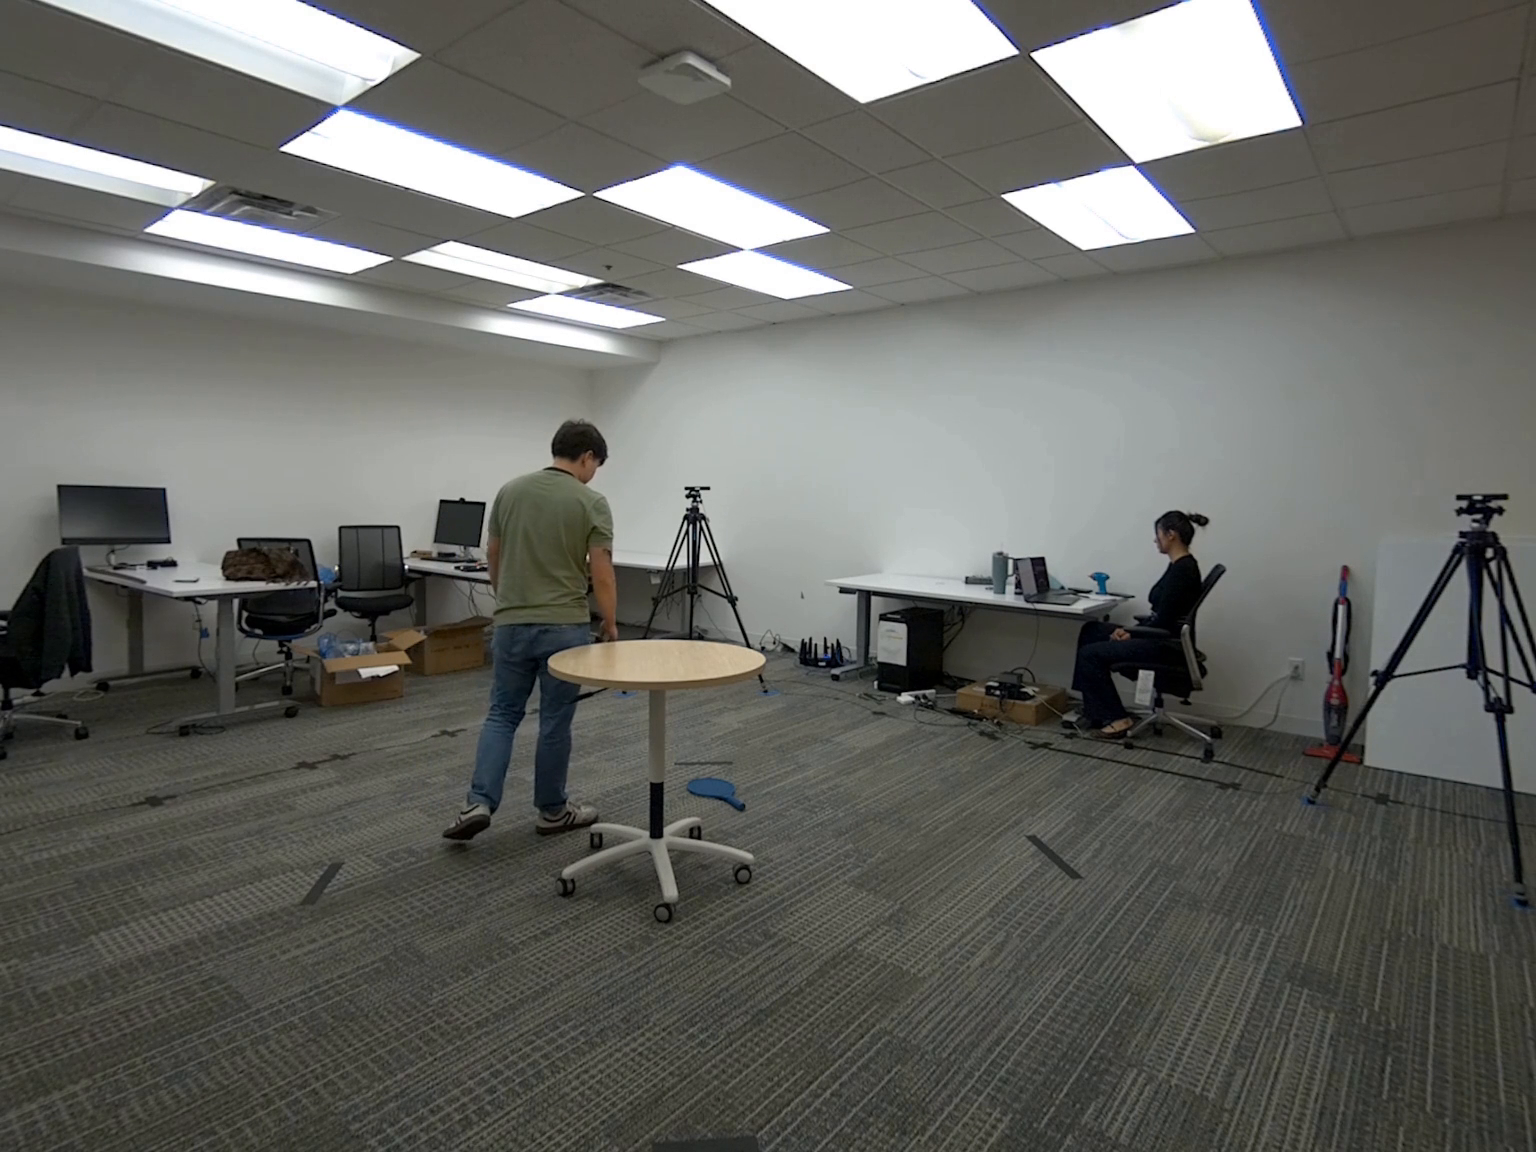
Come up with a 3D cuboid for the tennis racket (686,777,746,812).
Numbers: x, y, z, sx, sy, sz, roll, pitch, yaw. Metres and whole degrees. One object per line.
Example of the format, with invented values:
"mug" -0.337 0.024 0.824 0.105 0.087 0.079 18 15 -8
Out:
"tennis racket" -0.234 0.973 3.850 0.208 0.032 0.446 -2 5 -30
